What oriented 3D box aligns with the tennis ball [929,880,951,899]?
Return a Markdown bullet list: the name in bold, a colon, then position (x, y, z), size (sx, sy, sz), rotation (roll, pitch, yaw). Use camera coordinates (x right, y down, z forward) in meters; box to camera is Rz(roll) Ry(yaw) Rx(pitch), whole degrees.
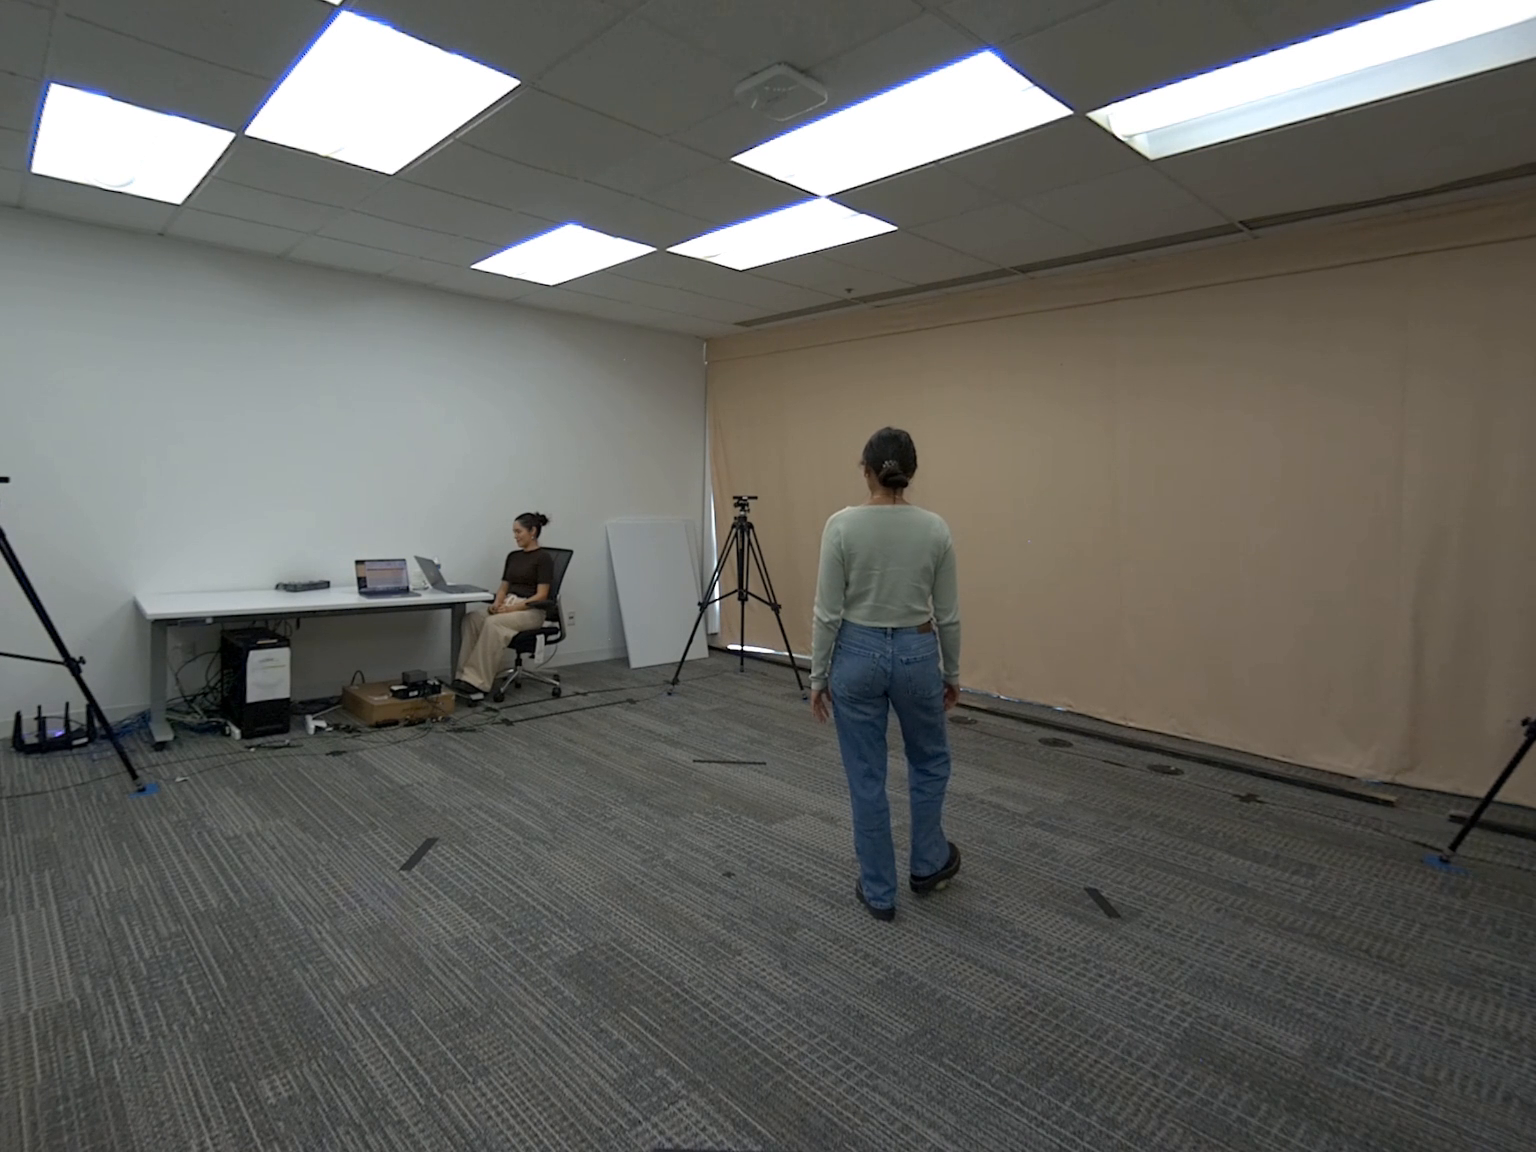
- **tennis ball**: position (0.612, 1.109, 3.040), size (0.066, 0.066, 0.067), rotation (1, 4, -1)
